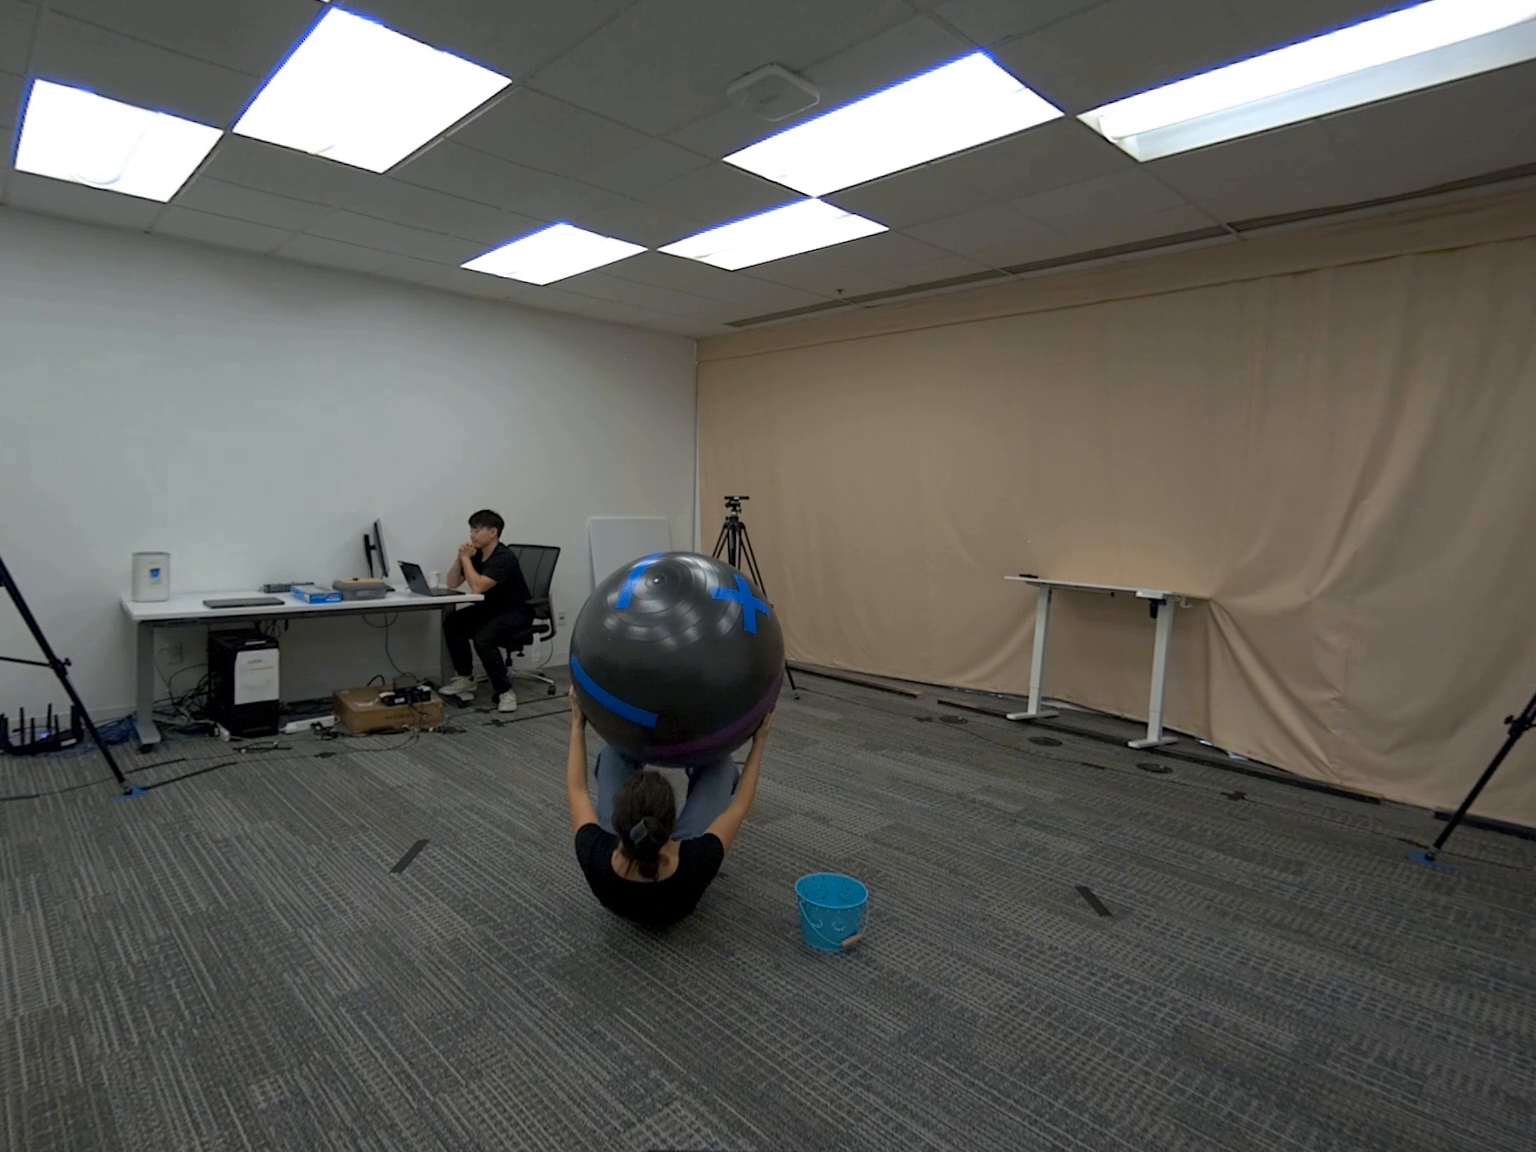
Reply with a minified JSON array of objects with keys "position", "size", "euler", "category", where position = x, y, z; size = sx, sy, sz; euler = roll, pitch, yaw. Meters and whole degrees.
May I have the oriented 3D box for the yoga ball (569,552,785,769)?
[{"position":[-0.330,0.297,2.973],"size":[0.757,0.756,0.761],"euler":[1,4,-1],"category":"yoga ball"}]
